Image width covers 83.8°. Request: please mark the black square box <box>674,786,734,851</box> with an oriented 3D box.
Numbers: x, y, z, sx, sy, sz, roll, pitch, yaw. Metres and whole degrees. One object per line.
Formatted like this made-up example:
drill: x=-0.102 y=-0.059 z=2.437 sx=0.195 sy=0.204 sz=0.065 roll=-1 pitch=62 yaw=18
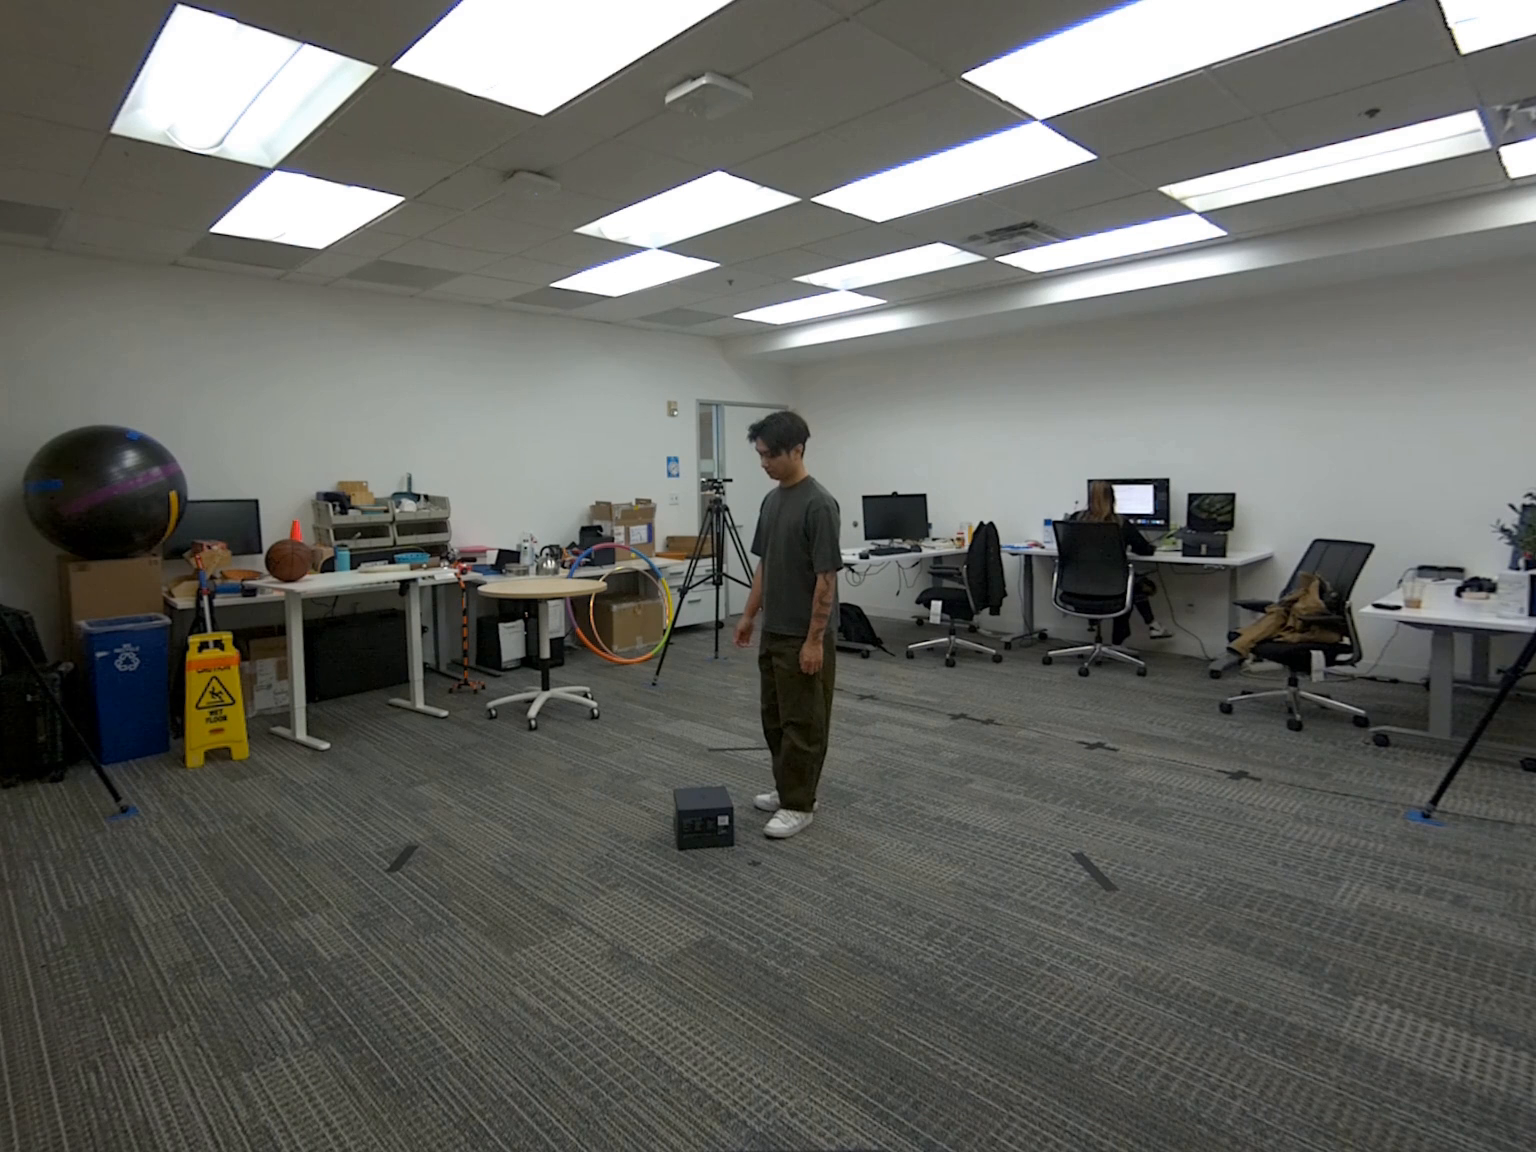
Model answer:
black square box: x=-0.254 y=0.933 z=3.340 sx=0.215 sy=0.155 sz=0.231 roll=-2 pitch=6 yaw=-10
